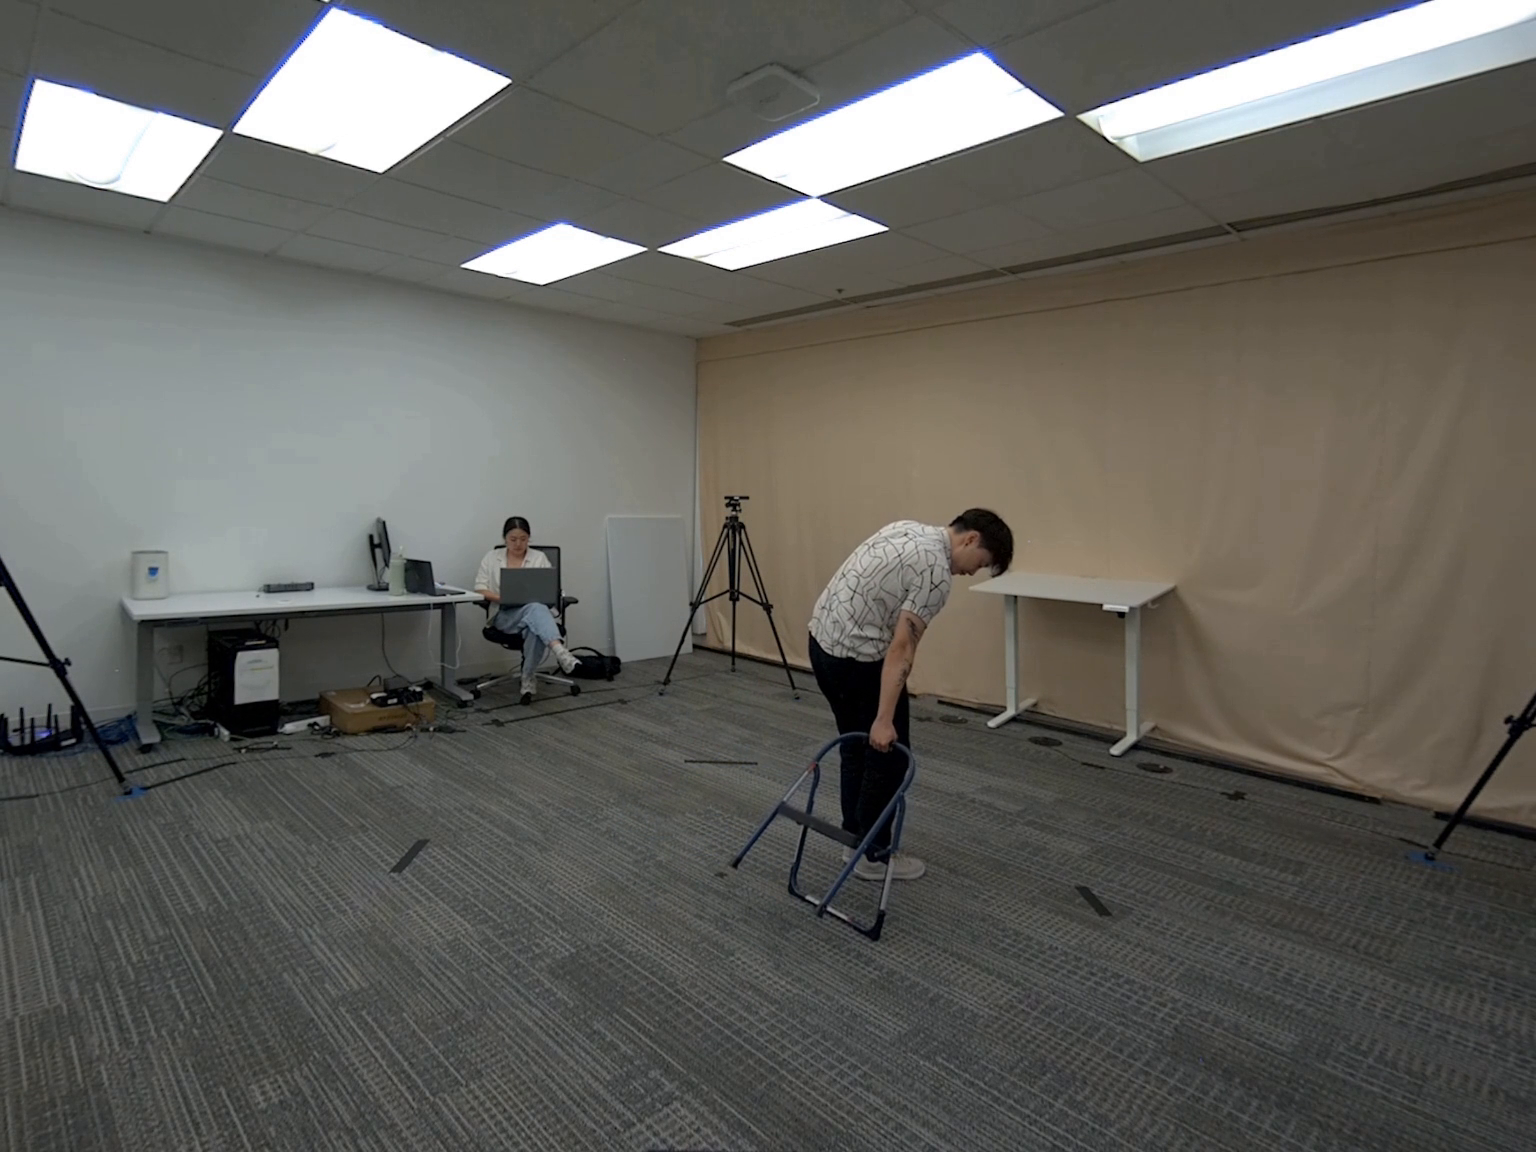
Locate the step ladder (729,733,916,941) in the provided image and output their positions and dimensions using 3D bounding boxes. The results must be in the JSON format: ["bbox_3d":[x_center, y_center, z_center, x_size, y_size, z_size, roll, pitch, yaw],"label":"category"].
[{"bbox_3d":[0.224,0.801,2.804,0.442,0.609,0.339,7,-24,49],"label":"step ladder"}]
